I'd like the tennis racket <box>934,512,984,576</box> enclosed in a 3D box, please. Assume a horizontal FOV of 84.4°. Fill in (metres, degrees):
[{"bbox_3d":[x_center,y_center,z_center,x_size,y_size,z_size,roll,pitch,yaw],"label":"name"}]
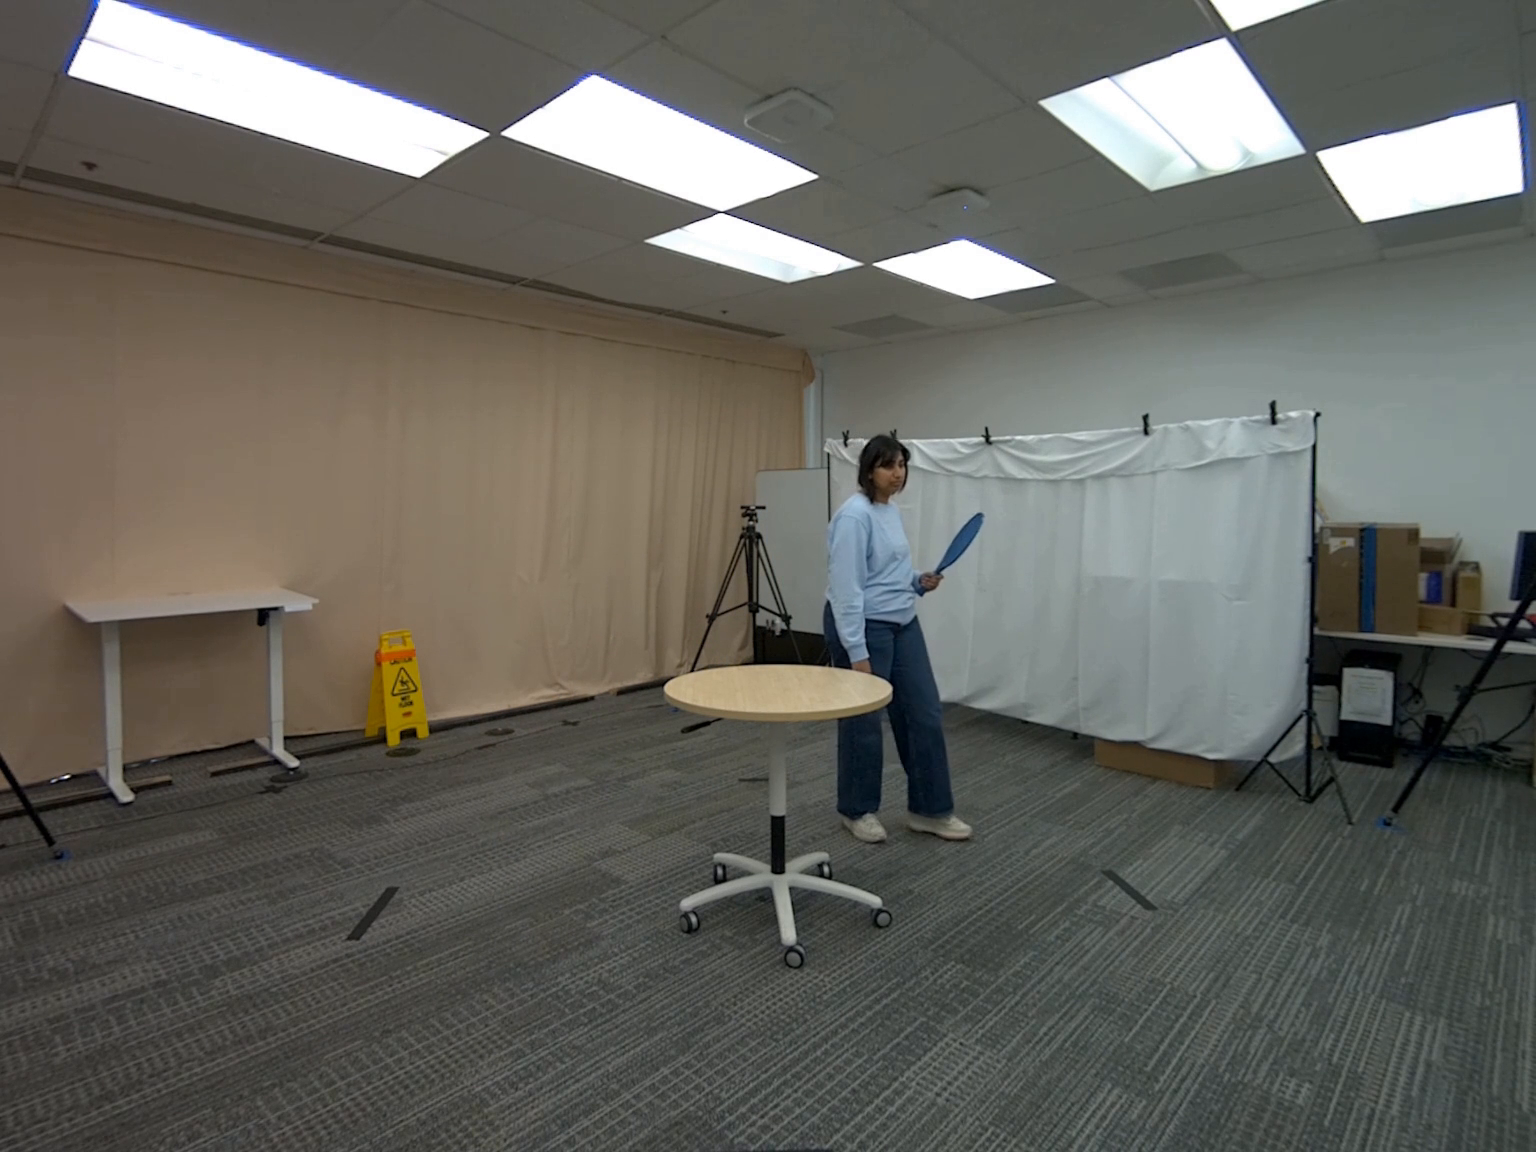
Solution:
[{"bbox_3d":[0.743,-0.080,3.434,0.031,0.434,0.214,32,30,-6],"label":"tennis racket"}]
